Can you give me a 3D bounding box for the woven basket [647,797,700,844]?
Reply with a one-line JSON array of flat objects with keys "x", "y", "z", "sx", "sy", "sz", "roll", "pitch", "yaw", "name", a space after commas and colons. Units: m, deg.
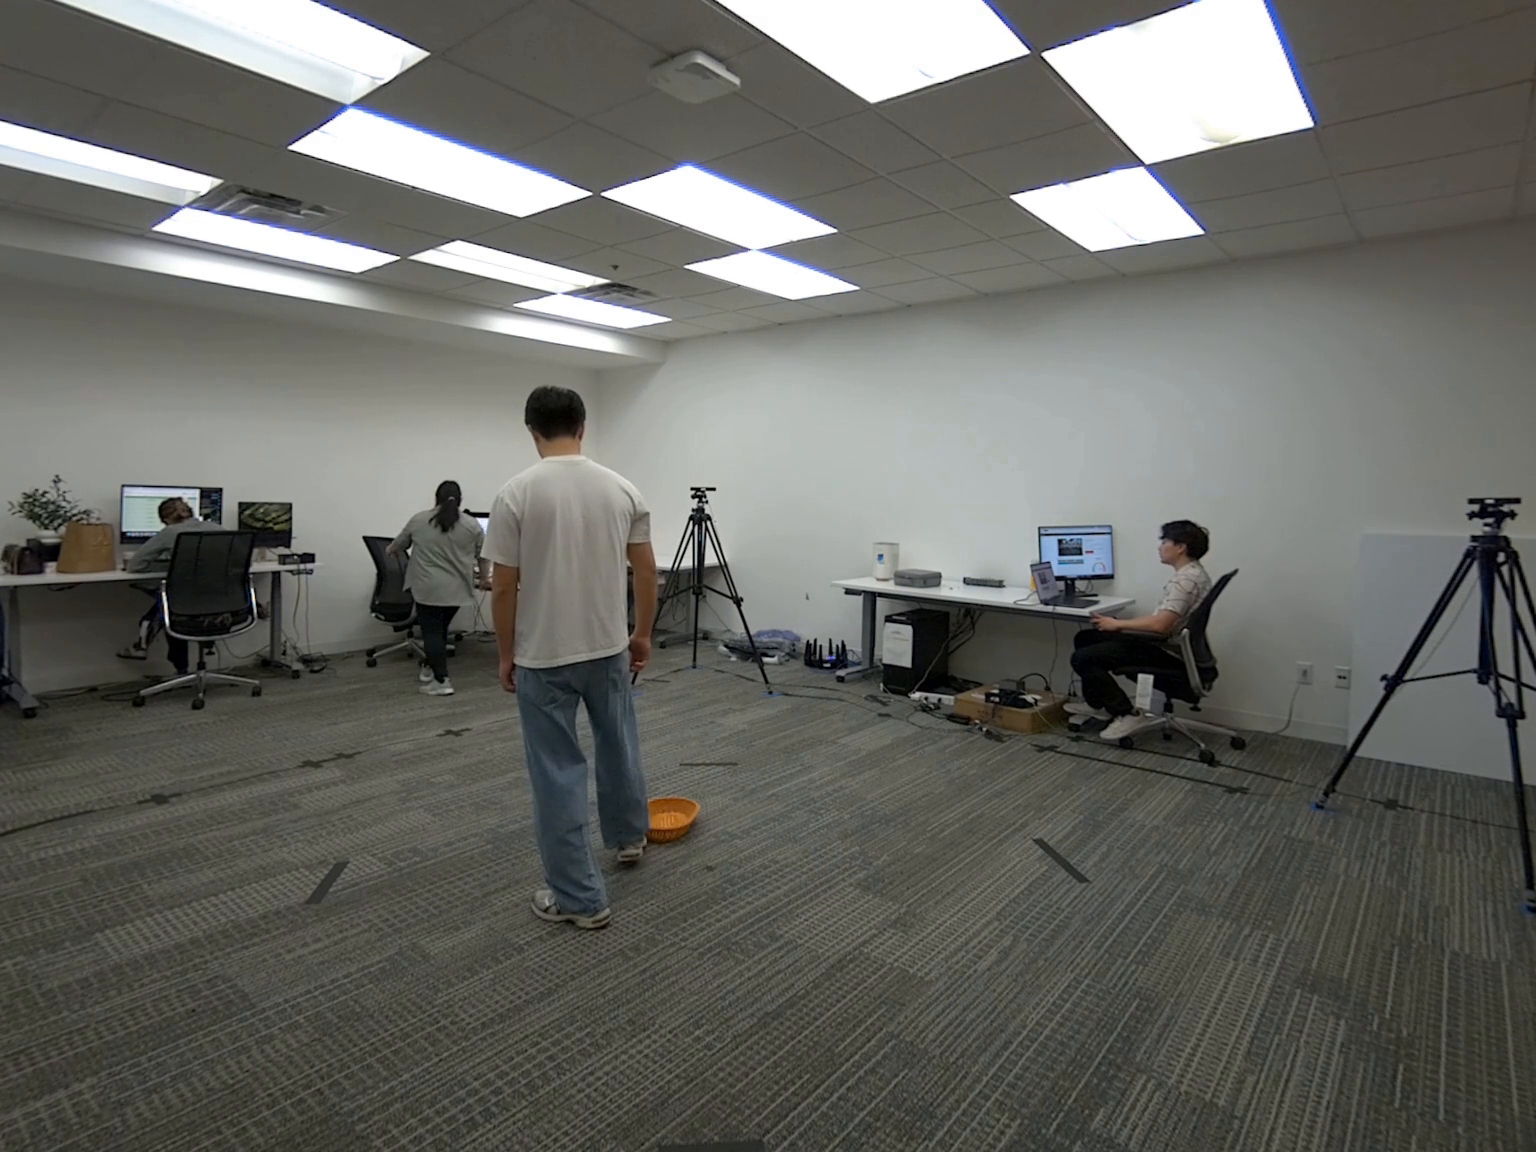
[{"x": -0.433, "y": 0.984, "z": 3.462, "sx": 0.257, "sy": 0.073, "sz": 0.346, "roll": 3, "pitch": 5, "yaw": 14, "name": "woven basket"}]
